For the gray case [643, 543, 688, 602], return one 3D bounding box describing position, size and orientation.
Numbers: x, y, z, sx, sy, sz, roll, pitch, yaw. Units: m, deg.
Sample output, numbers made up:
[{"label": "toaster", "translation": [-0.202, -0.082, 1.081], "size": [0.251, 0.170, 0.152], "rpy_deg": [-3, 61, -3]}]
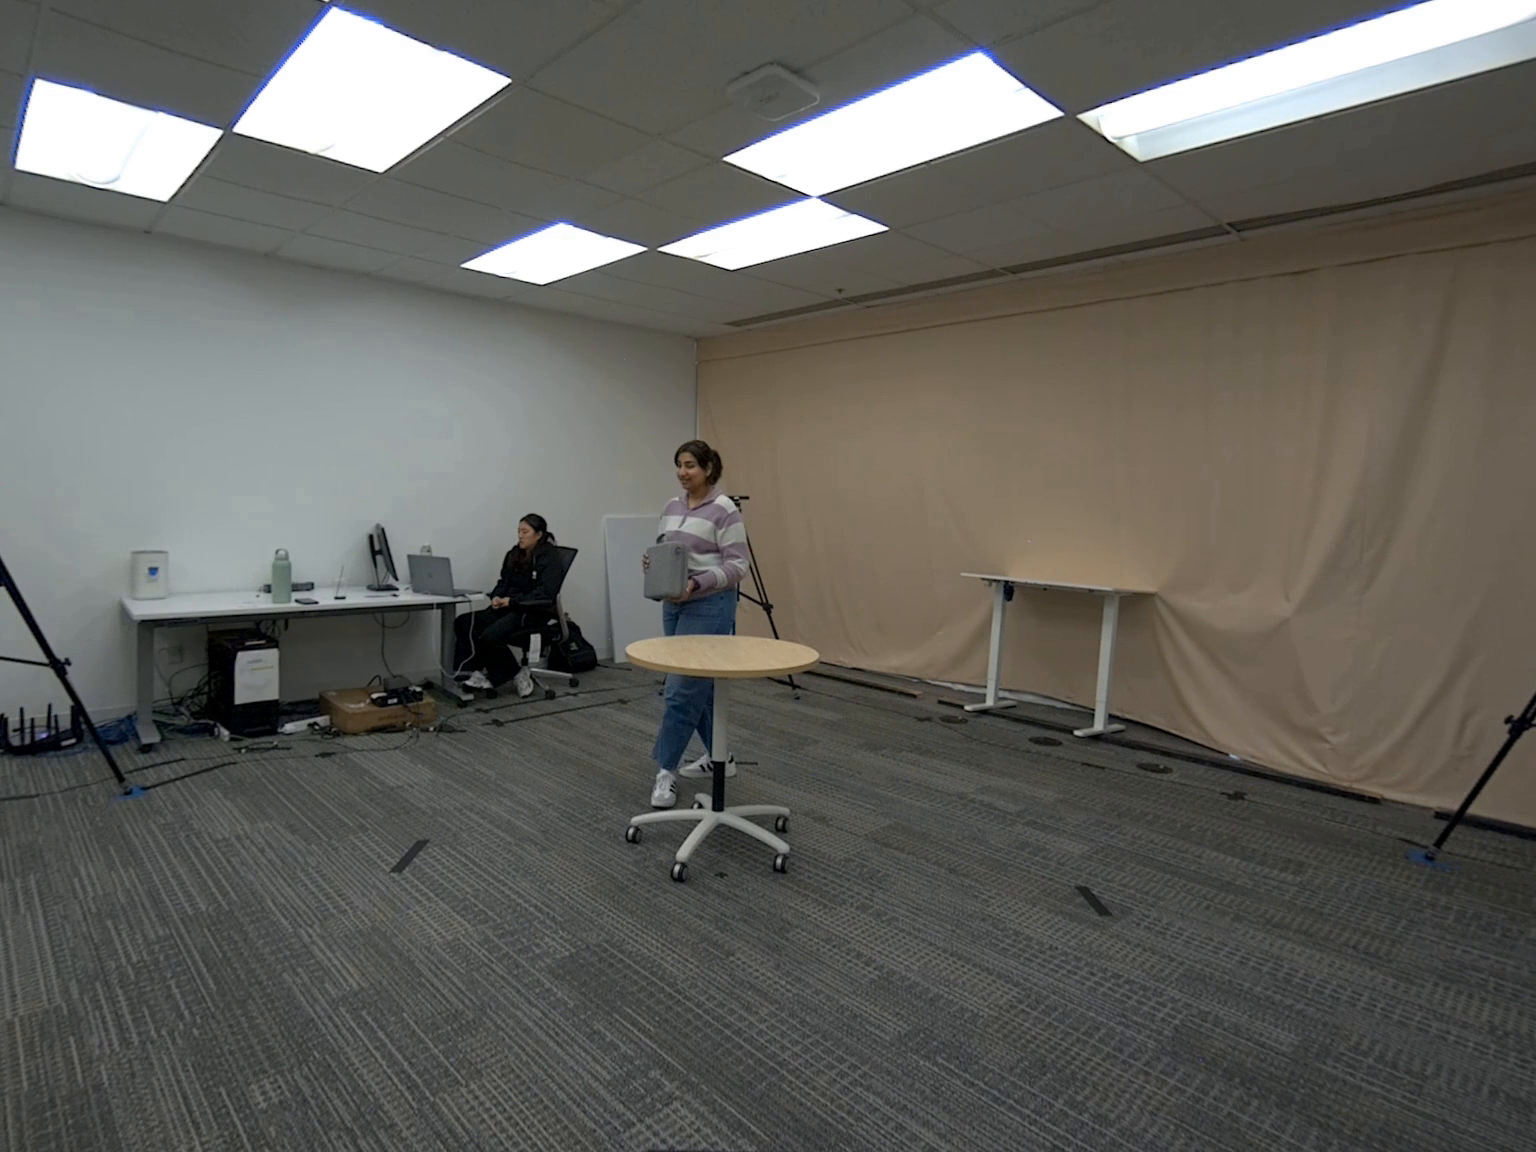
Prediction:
[{"label": "gray case", "translation": [-0.474, -0.030, 3.813], "size": [0.102, 0.262, 0.261], "rpy_deg": [6, -9, -33]}]
